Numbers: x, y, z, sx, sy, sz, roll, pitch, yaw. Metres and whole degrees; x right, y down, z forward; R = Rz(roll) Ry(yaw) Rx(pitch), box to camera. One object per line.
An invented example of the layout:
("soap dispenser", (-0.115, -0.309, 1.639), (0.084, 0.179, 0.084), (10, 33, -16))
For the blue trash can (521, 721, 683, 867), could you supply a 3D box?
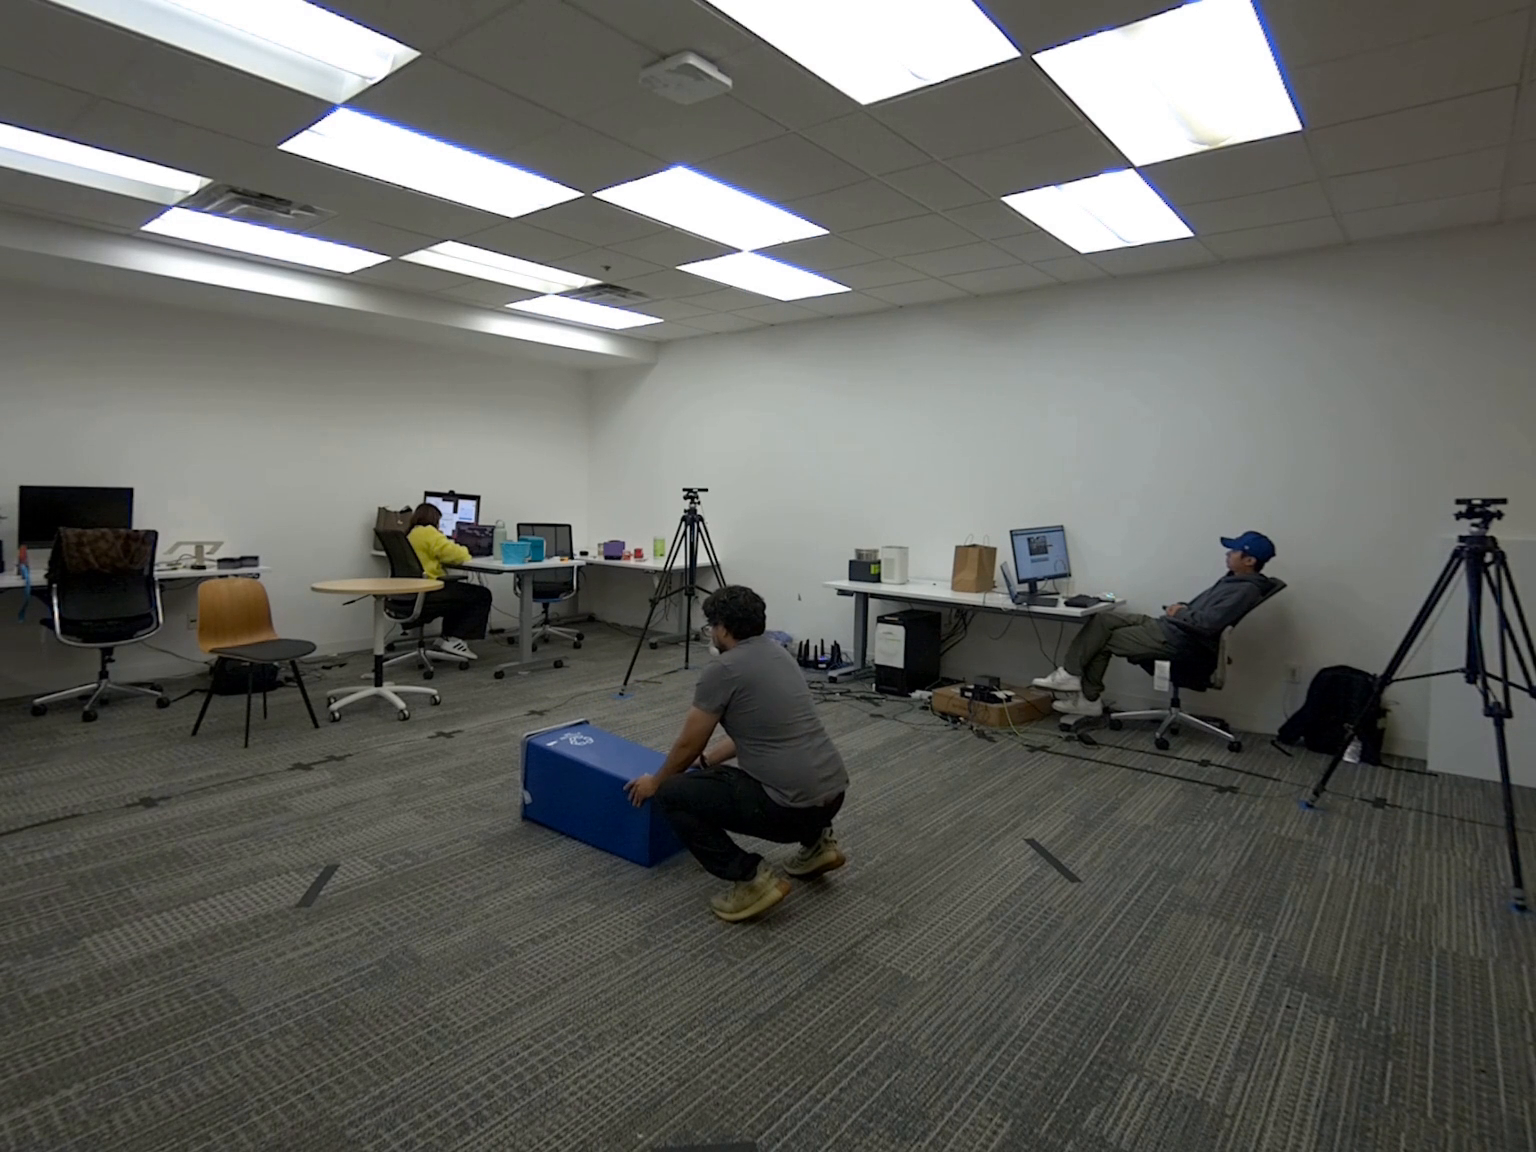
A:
("blue trash can", (-0.646, 0.866, 3.435), (0.738, 0.376, 0.363), (8, 7, 37))
